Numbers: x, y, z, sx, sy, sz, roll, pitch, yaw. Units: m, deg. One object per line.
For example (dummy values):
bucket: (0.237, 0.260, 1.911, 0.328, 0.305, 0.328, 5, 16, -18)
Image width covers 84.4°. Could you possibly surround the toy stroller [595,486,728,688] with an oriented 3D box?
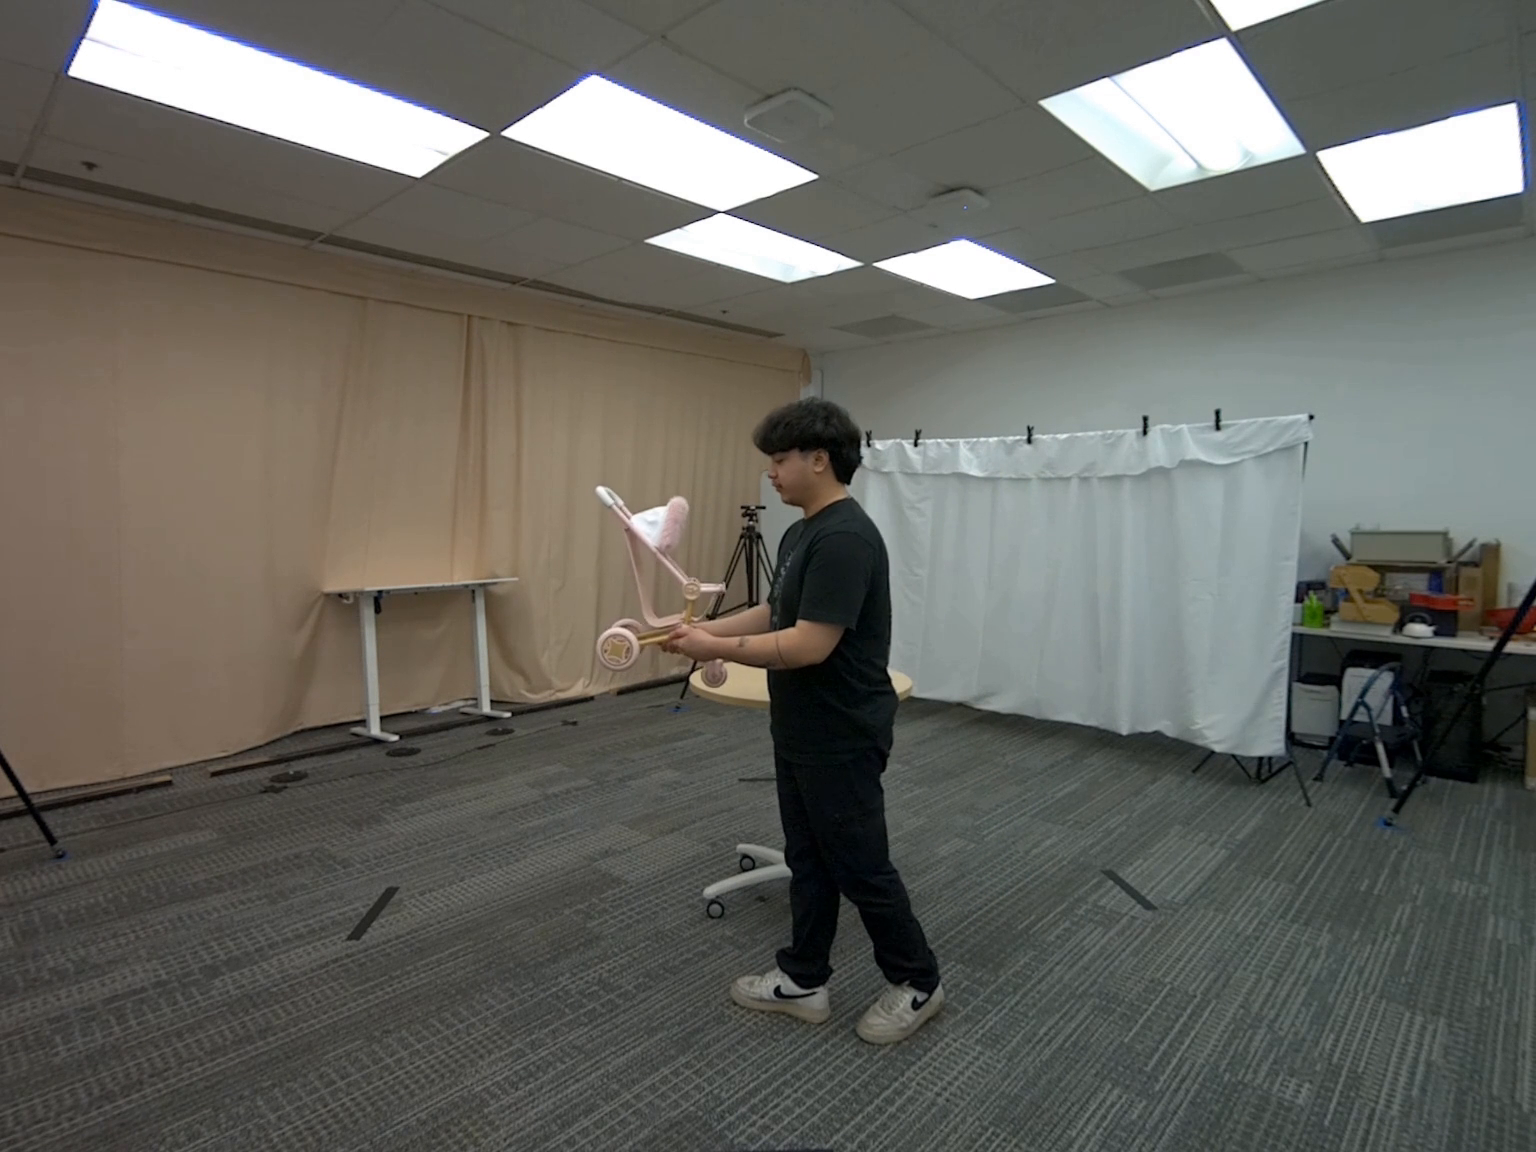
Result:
toy stroller: (-0.272, 0.033, 2.217, 0.342, 0.535, 0.280, -1, -1, 2)
